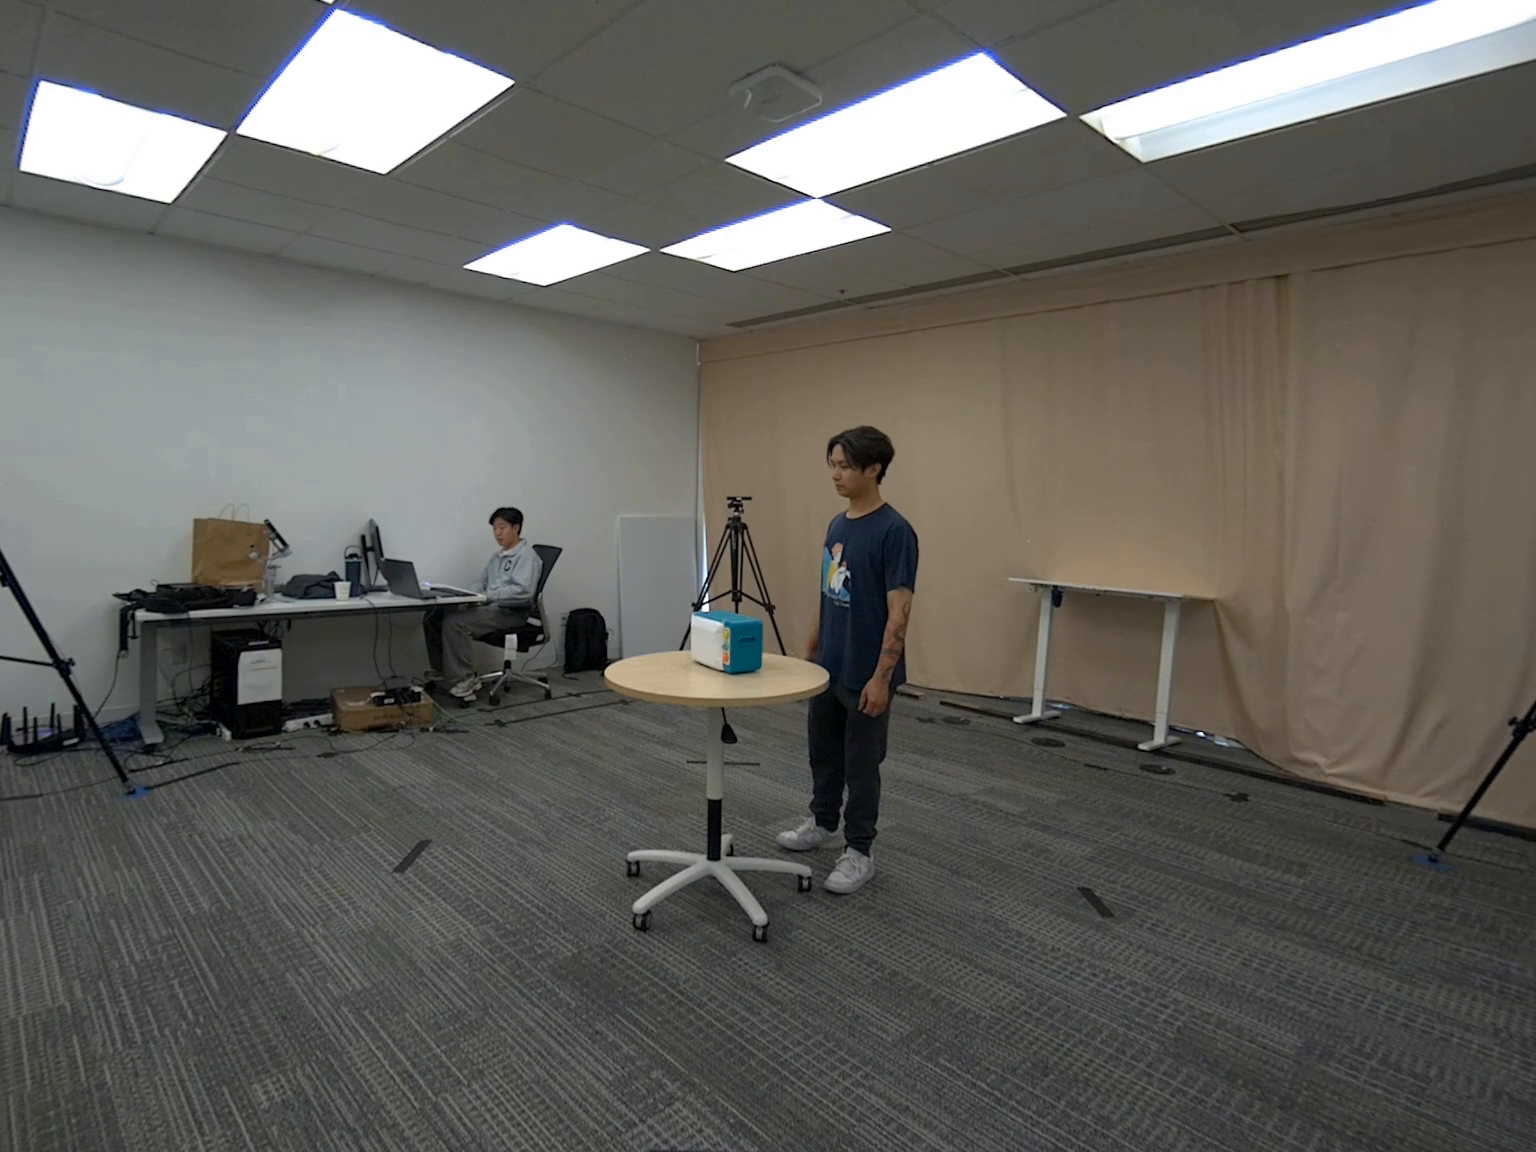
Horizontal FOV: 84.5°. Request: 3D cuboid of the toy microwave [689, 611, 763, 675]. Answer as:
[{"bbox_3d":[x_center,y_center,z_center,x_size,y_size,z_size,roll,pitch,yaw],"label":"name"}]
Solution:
[{"bbox_3d":[-0.157,0.228,2.951,0.149,0.183,0.293,-2,6,-33],"label":"toy microwave"}]
